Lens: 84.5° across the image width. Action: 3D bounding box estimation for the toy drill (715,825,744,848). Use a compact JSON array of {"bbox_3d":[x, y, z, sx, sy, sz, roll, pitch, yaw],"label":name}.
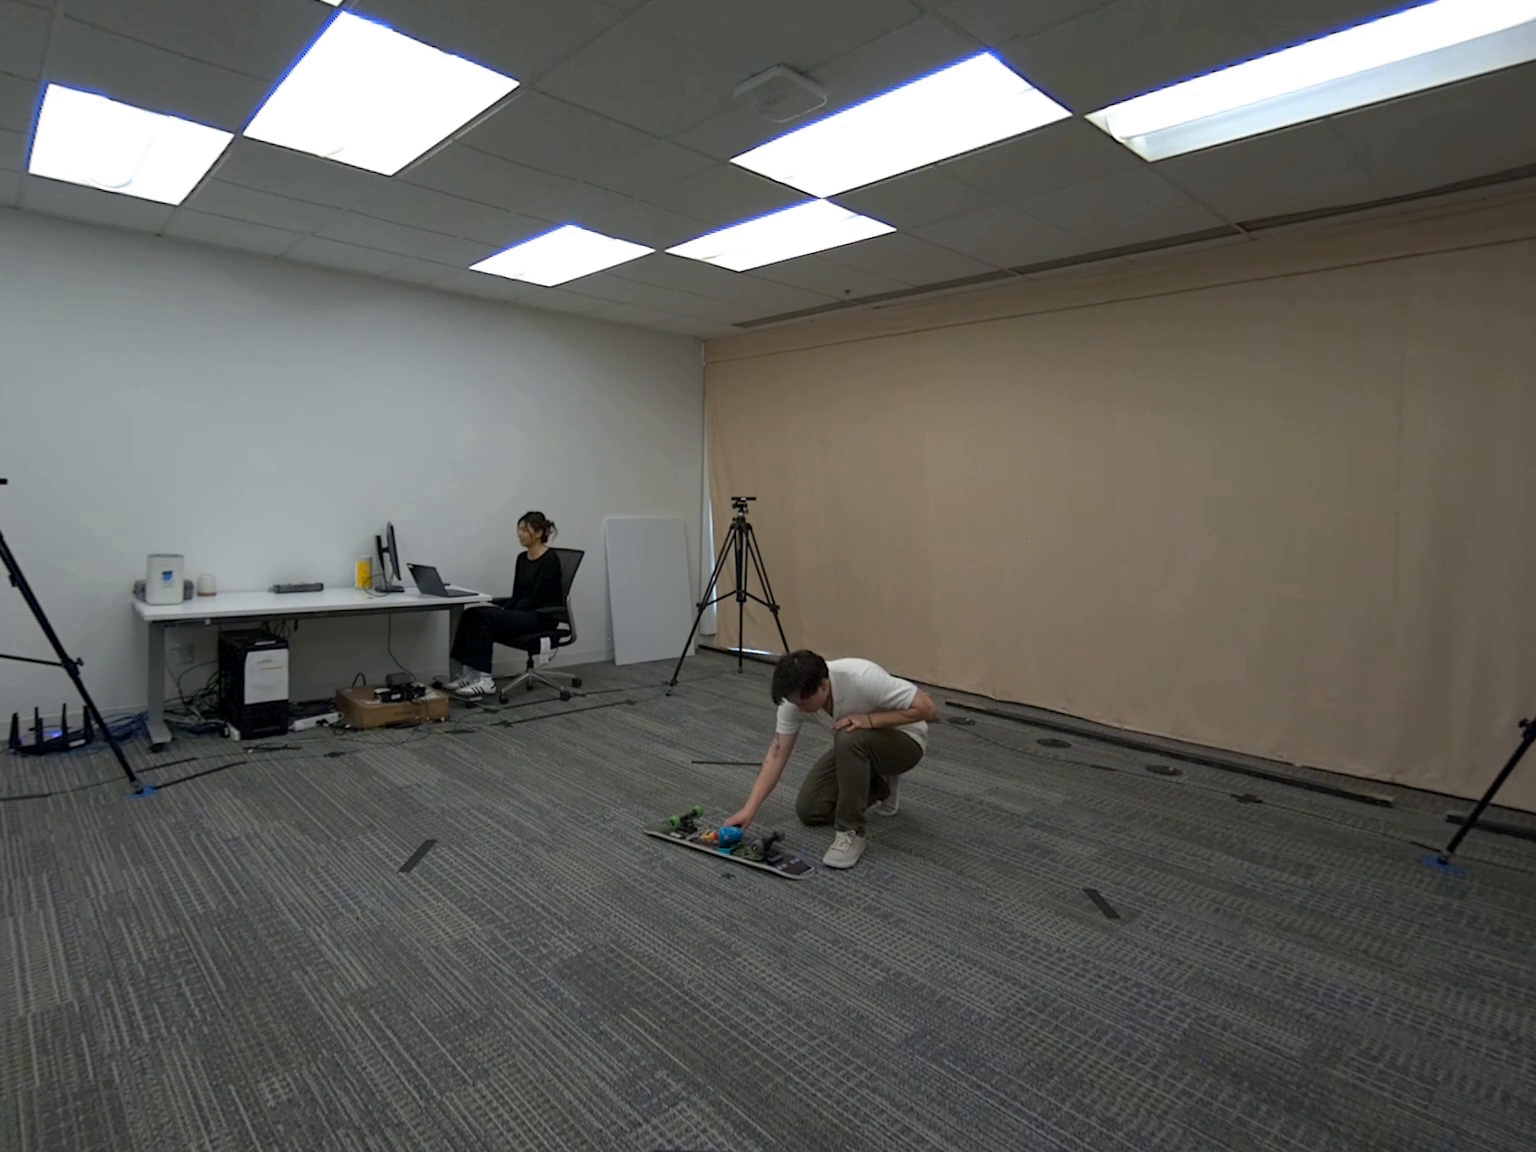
[{"bbox_3d":[-0.186,1.020,3.343,0.171,0.061,0.144,-6,-8,6],"label":"toy drill"}]
